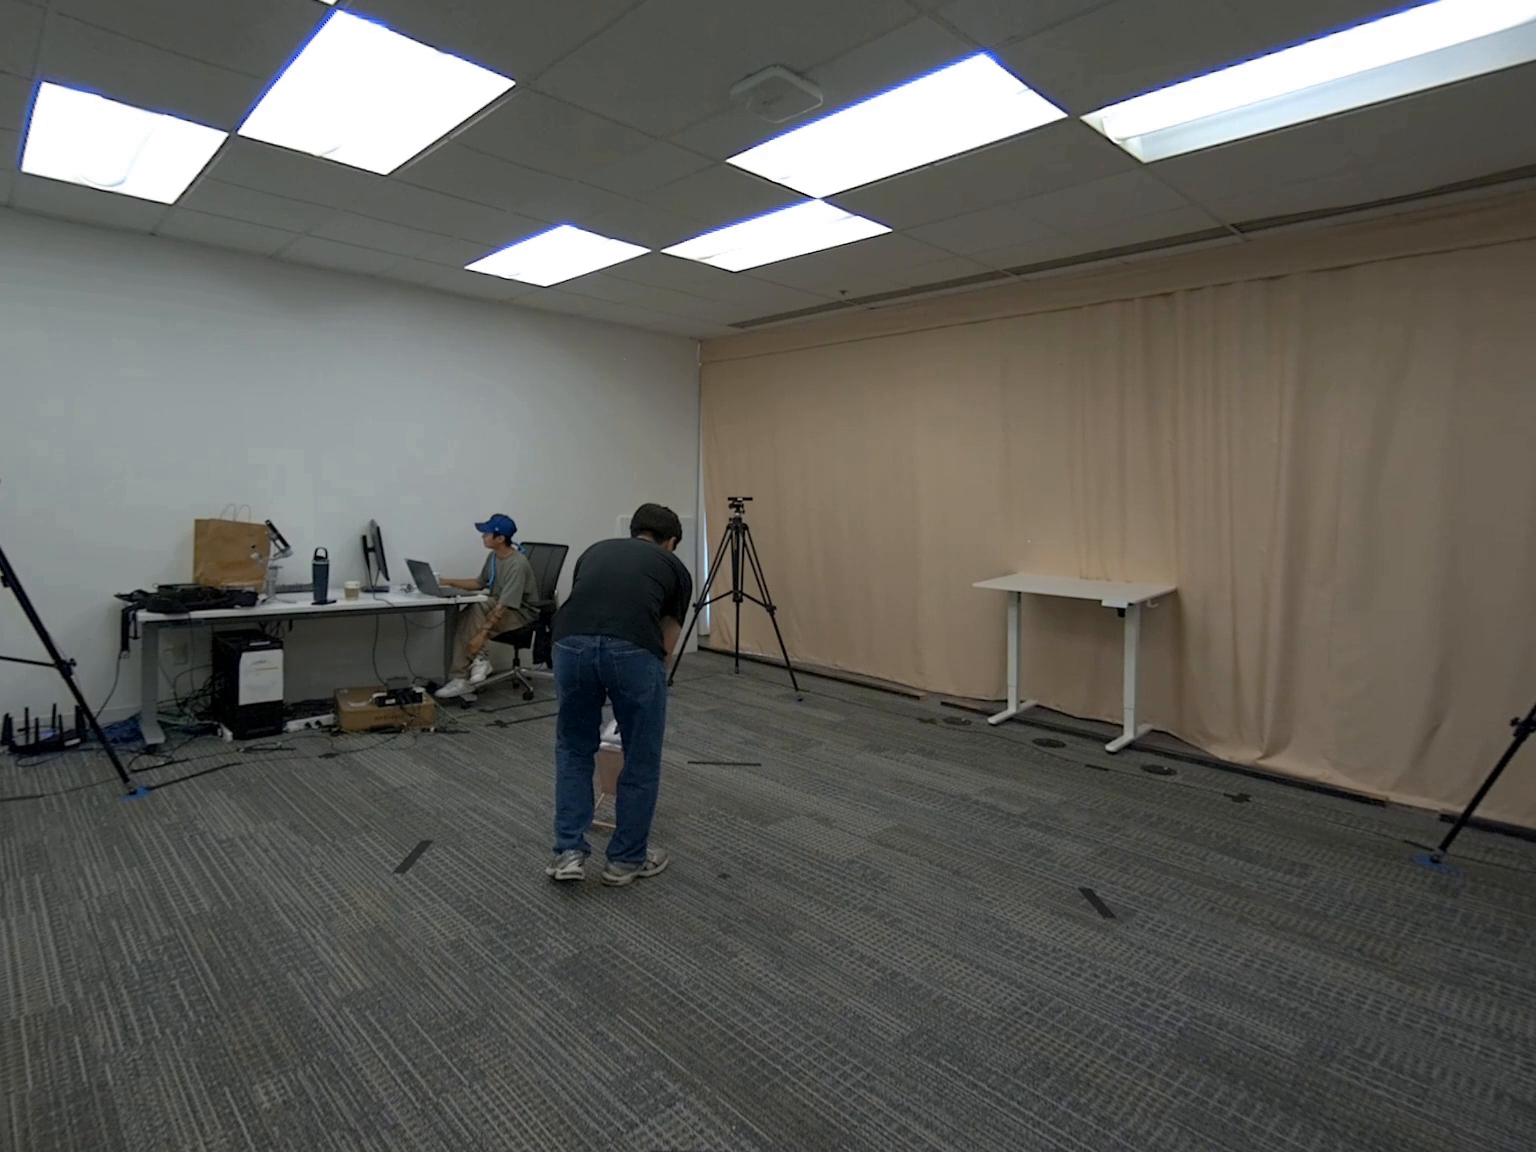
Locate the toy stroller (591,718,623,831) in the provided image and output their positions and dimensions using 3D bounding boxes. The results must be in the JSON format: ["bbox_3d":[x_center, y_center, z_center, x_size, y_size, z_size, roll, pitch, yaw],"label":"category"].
[{"bbox_3d":[-0.611,0.832,3.531,0.286,0.528,0.340,7,20,18],"label":"toy stroller"}]
